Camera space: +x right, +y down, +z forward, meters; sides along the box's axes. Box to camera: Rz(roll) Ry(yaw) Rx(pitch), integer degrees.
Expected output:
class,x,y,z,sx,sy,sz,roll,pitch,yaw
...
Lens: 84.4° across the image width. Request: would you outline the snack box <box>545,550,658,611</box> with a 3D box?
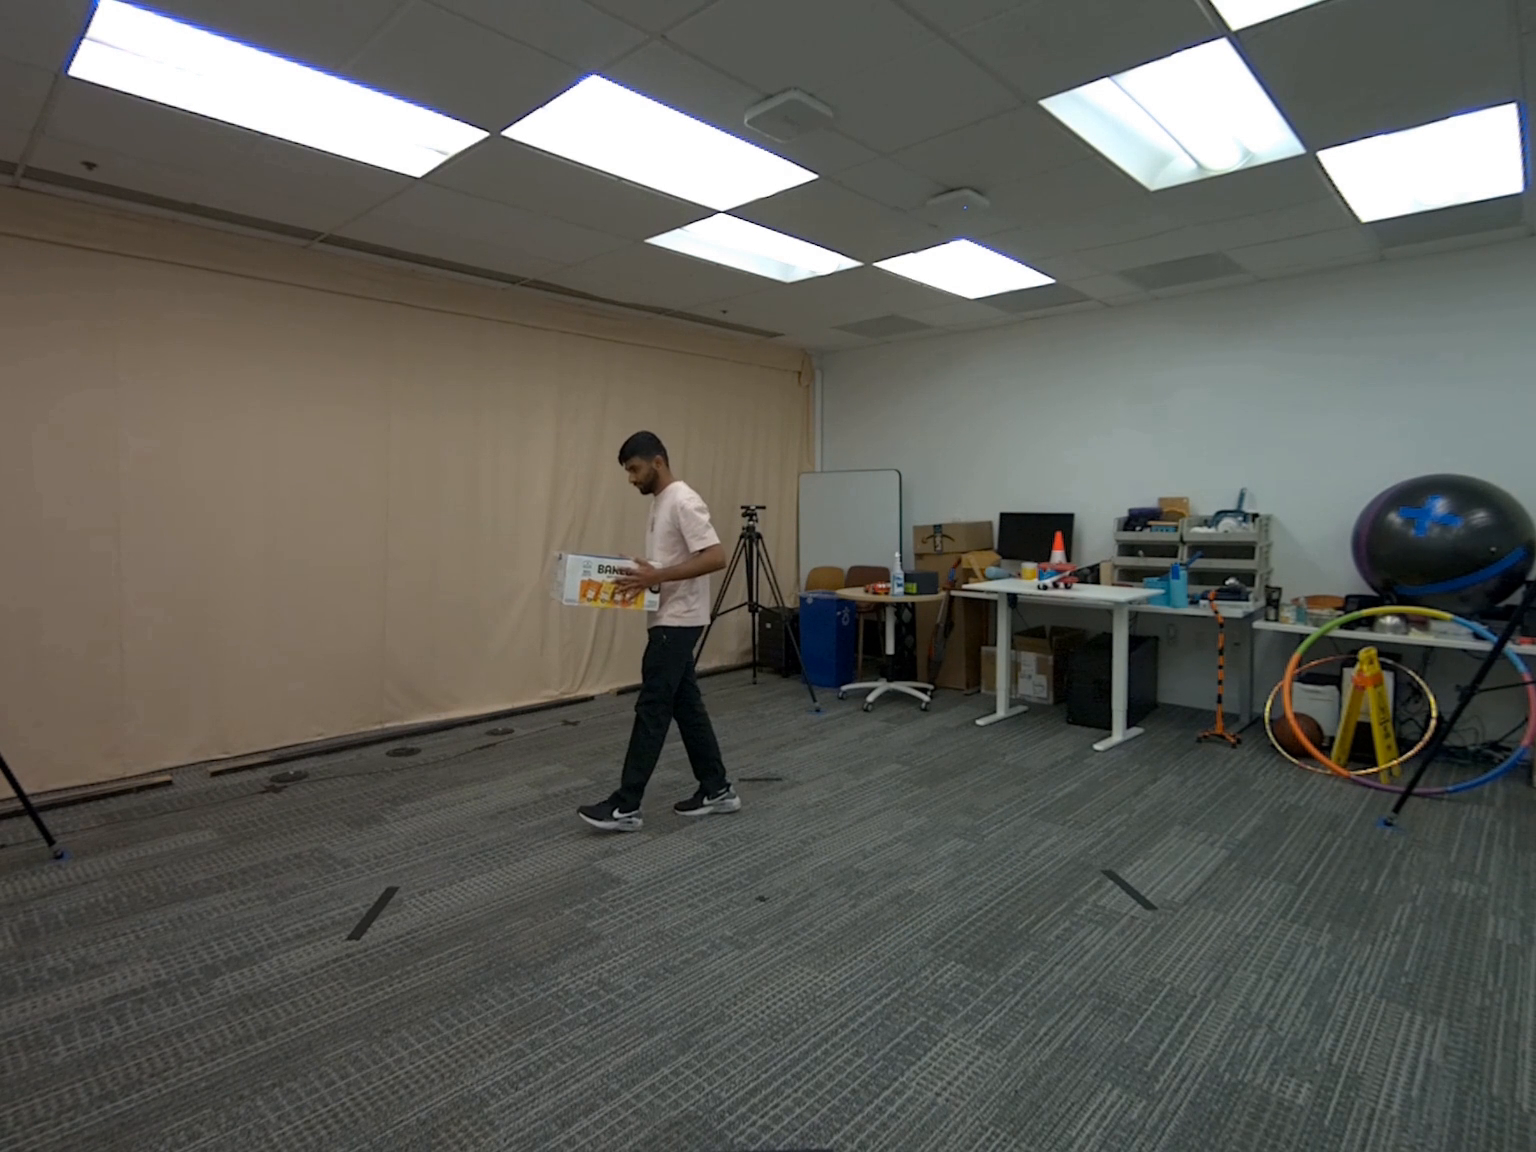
class,x,y,z,sx,sy,sz,roll,pitch,yaw
snack box,-0.711,0.014,3.618,0.396,0.205,0.348,5,2,-22
